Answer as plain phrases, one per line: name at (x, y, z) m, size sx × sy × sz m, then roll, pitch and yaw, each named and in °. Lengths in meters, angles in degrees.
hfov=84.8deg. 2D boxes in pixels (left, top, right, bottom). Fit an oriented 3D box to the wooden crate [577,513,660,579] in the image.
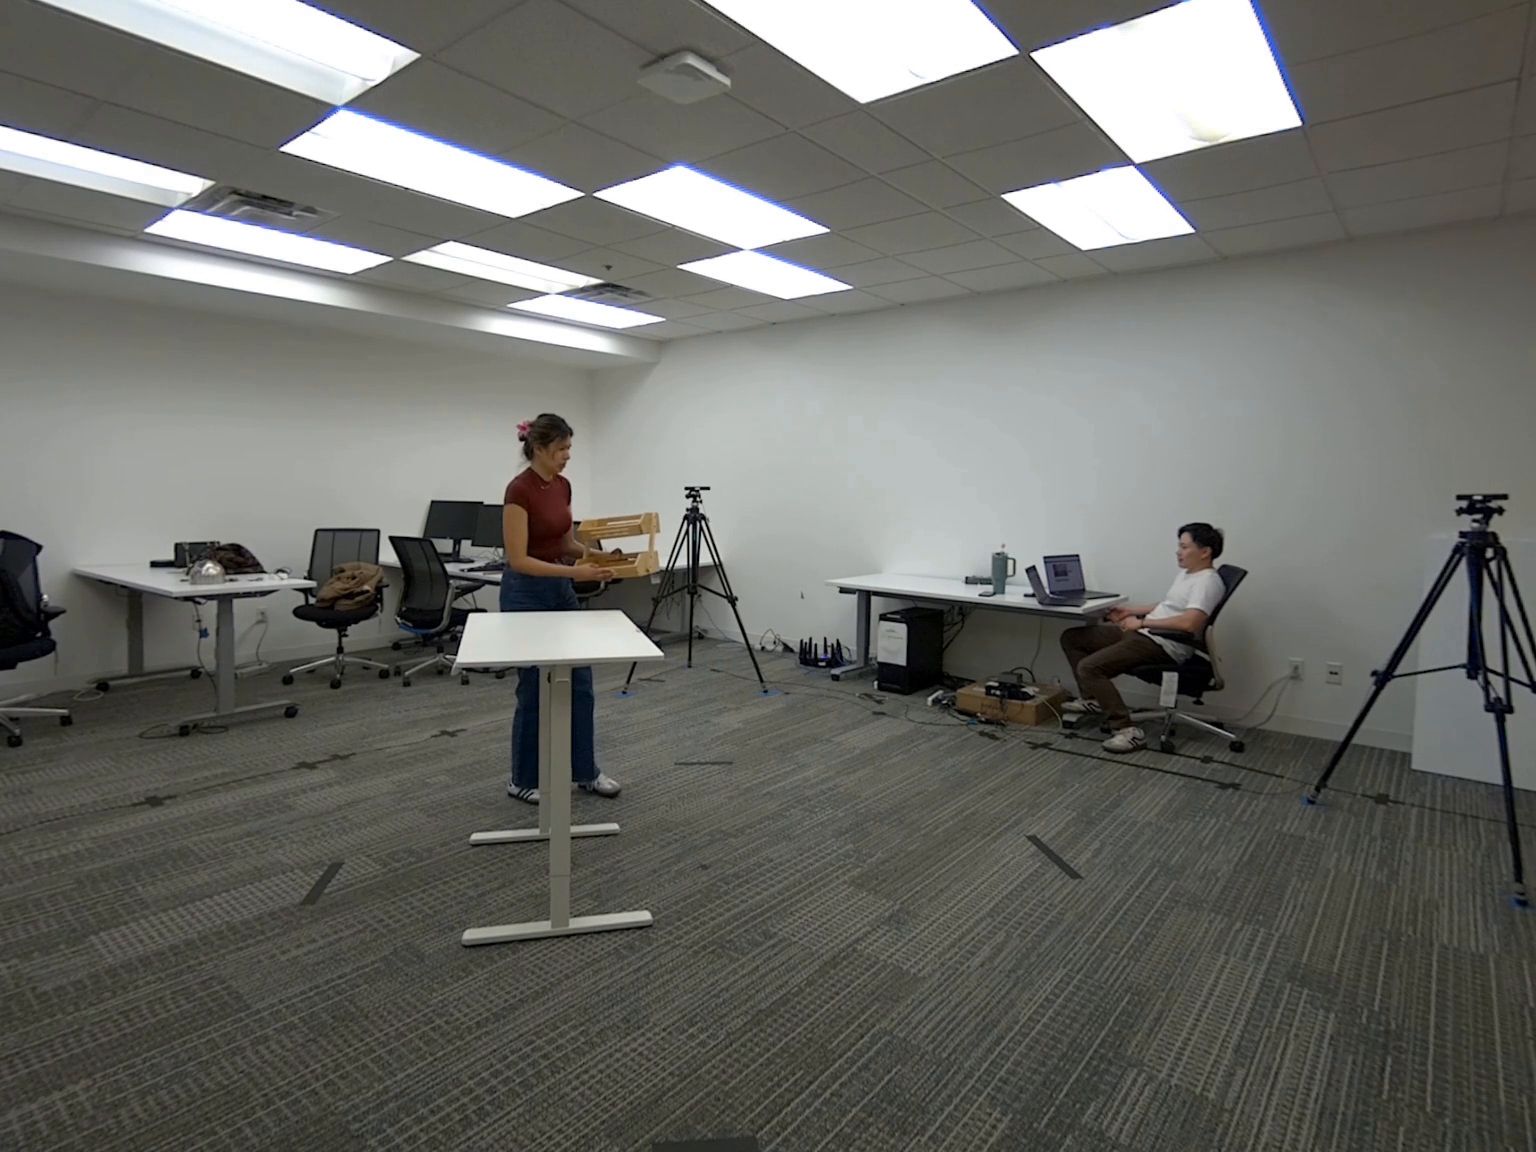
wooden crate at (-0.673, -0.133, 3.694) m, size 0.330 × 0.272 × 0.298 m, roll -5°, pitch 4°, yaw 18°
